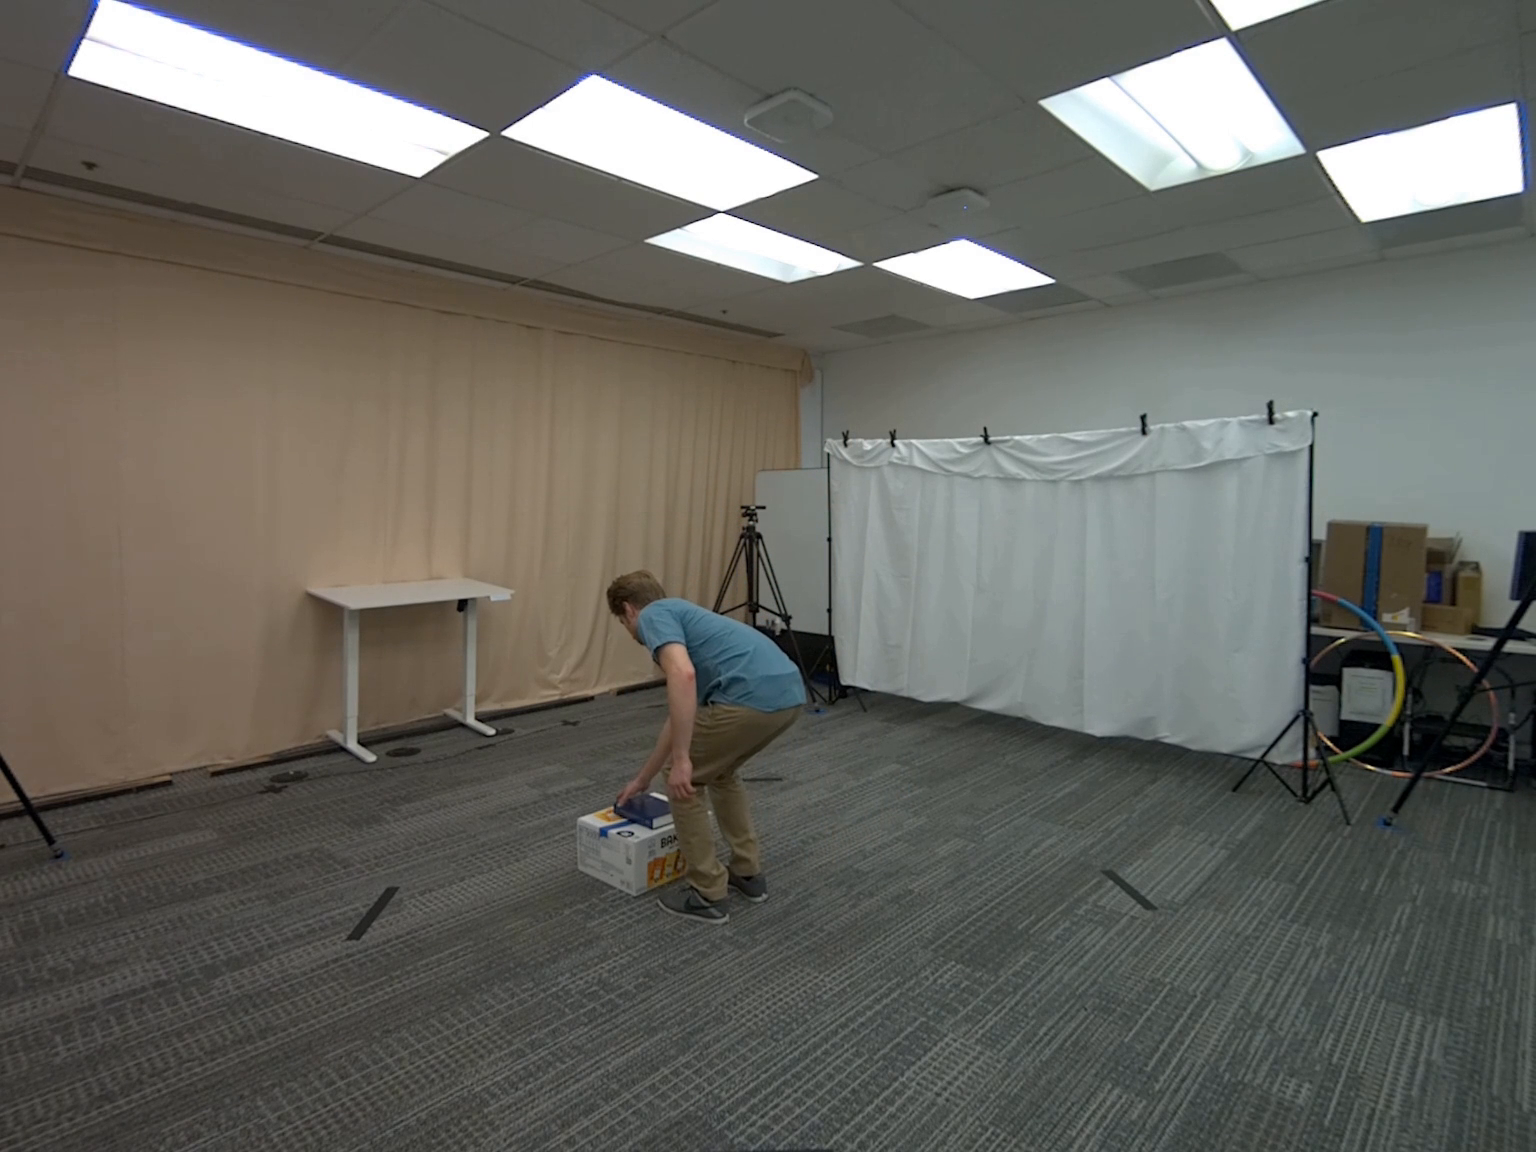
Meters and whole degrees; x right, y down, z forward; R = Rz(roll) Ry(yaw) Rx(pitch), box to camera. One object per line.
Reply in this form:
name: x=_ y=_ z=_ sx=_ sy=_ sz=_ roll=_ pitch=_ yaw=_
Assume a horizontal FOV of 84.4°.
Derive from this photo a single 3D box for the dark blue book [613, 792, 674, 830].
dark blue book: x=-0.459 y=0.905 z=3.253 sx=0.158 sy=0.045 sz=0.253 roll=-5 pitch=5 yaw=-44
